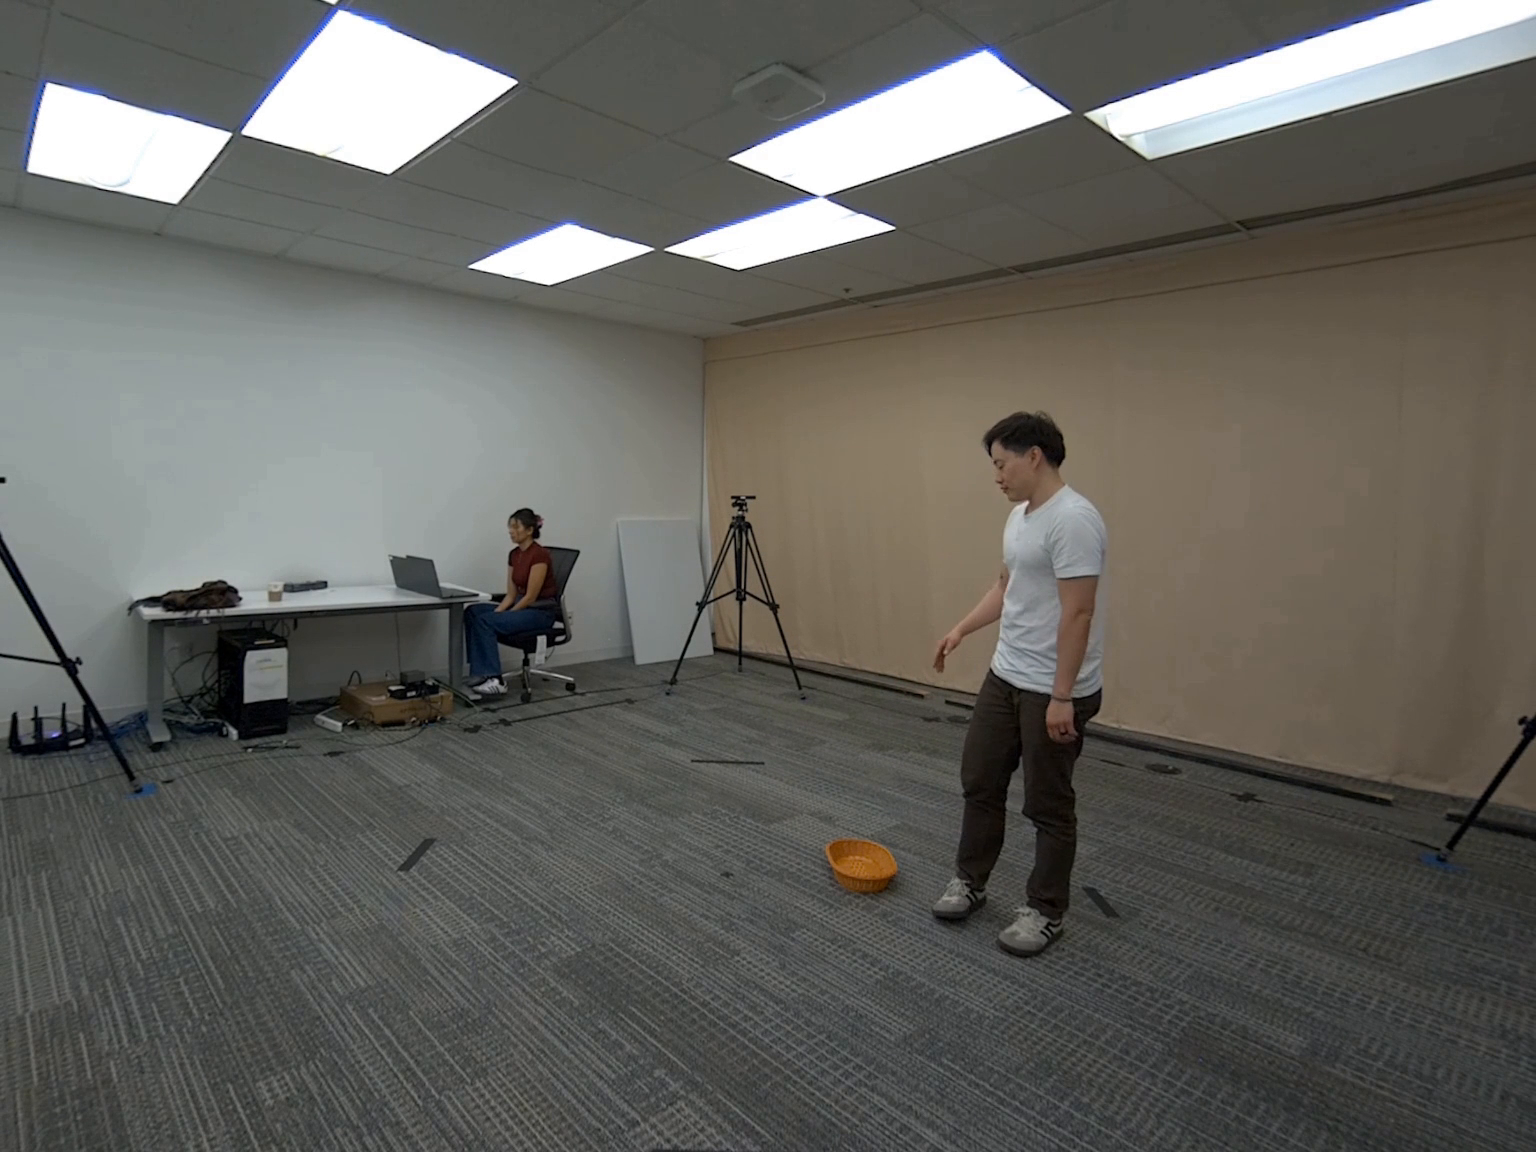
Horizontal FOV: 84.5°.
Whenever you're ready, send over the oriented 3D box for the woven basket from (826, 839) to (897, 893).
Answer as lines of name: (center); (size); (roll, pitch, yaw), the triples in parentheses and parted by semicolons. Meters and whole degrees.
woven basket: (0.336, 1.074, 3.117); (0.252, 0.073, 0.352); (2, 5, -2)
